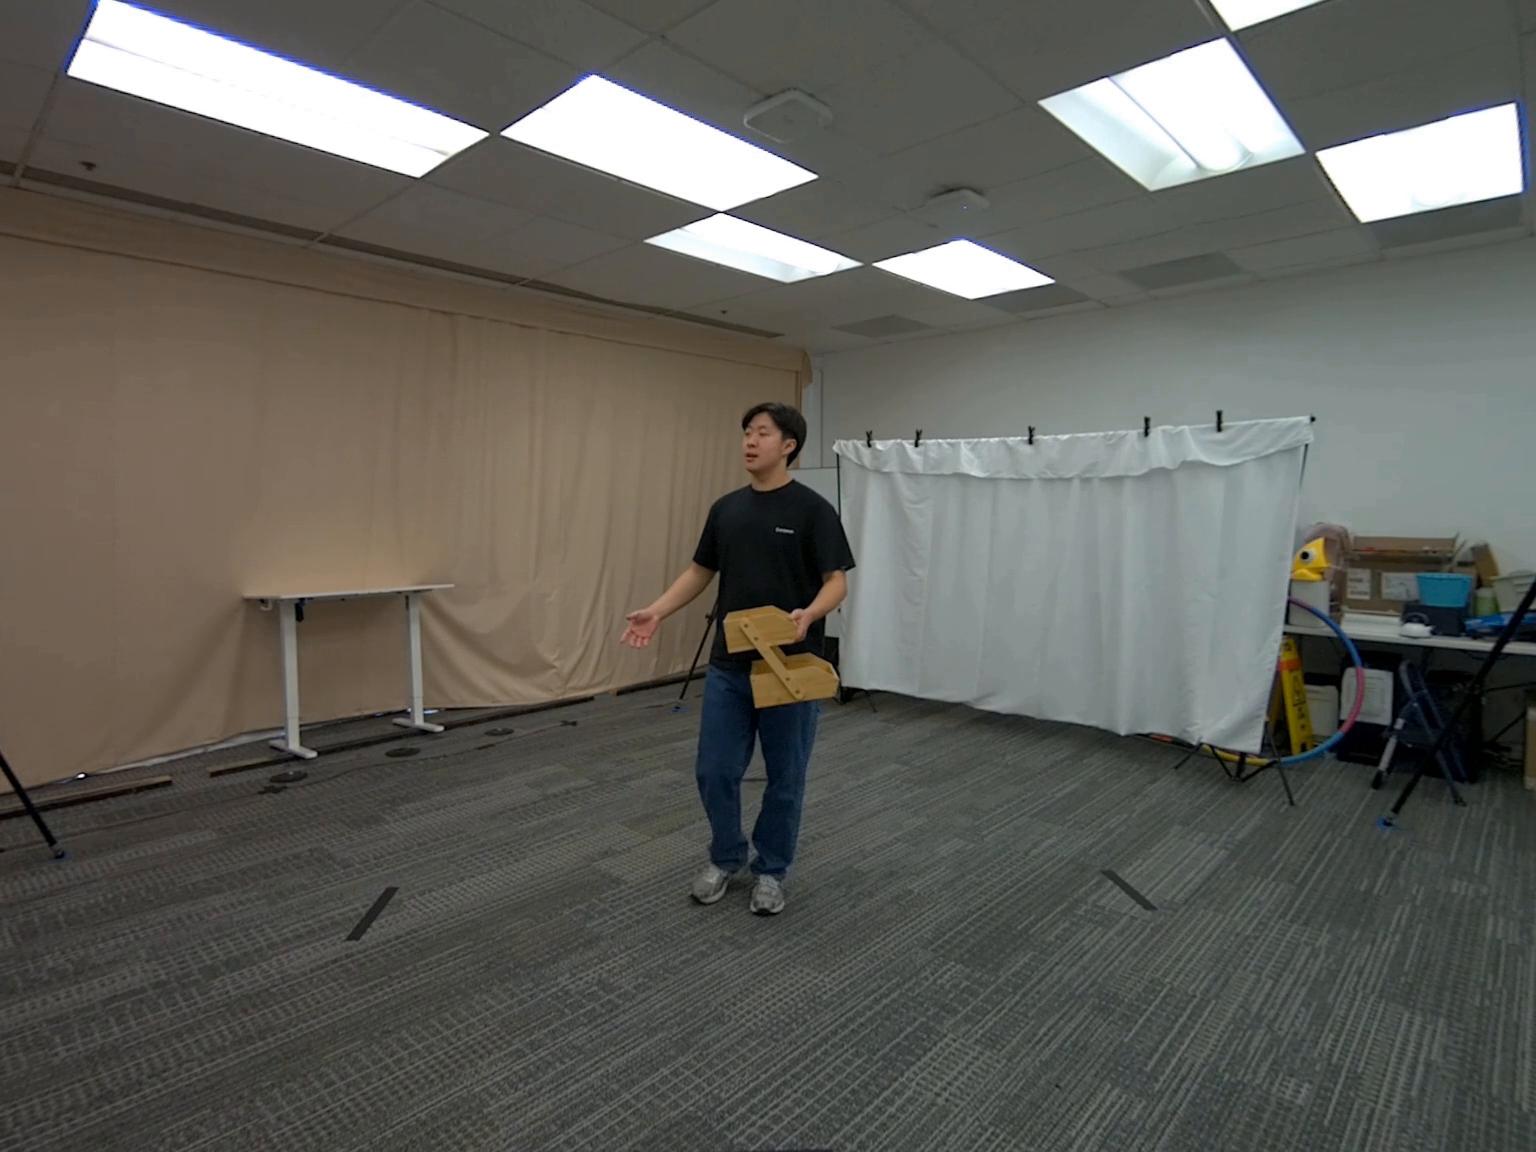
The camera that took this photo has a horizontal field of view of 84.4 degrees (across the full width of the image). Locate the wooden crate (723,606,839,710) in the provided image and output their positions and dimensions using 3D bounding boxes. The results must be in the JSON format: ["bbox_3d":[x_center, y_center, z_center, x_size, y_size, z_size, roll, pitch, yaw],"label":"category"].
[{"bbox_3d":[0.047,0.226,2.554,0.303,0.273,0.323,-10,1,2],"label":"wooden crate"}]
